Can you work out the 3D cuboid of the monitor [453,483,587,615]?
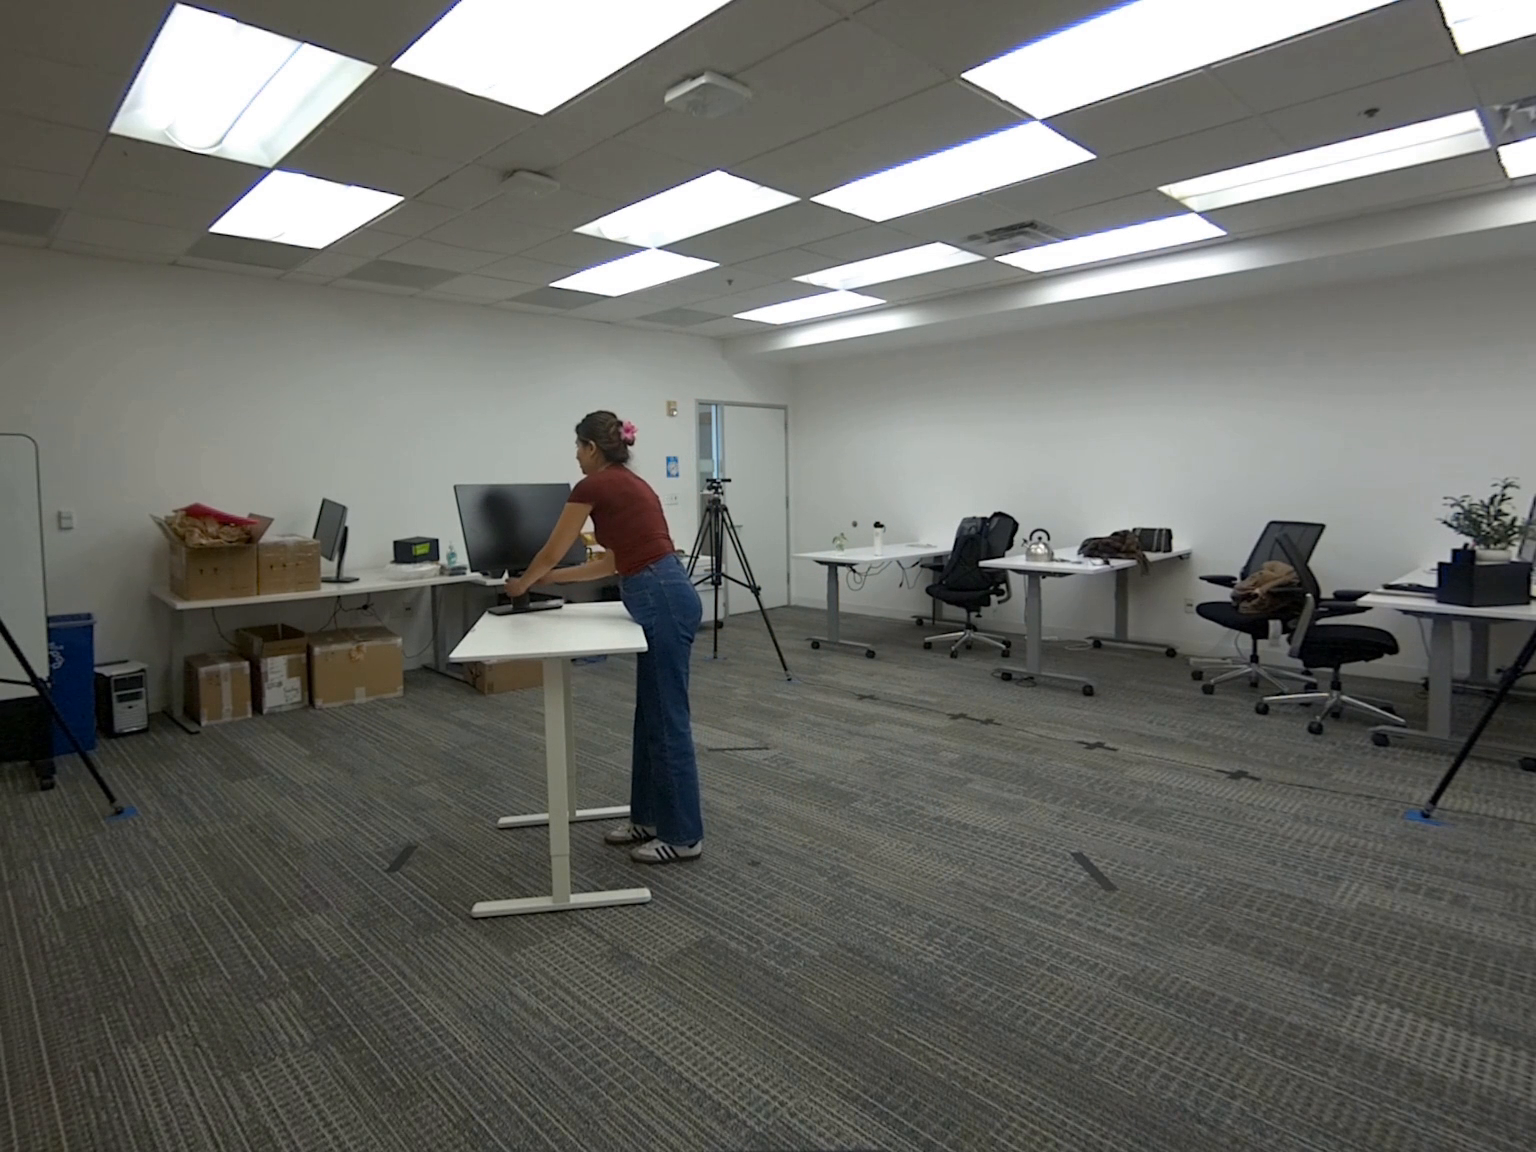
[{"bbox_3d":[-1.010,-0.117,3.487,0.192,0.522,0.525,-4,1,42],"label":"monitor"}]
